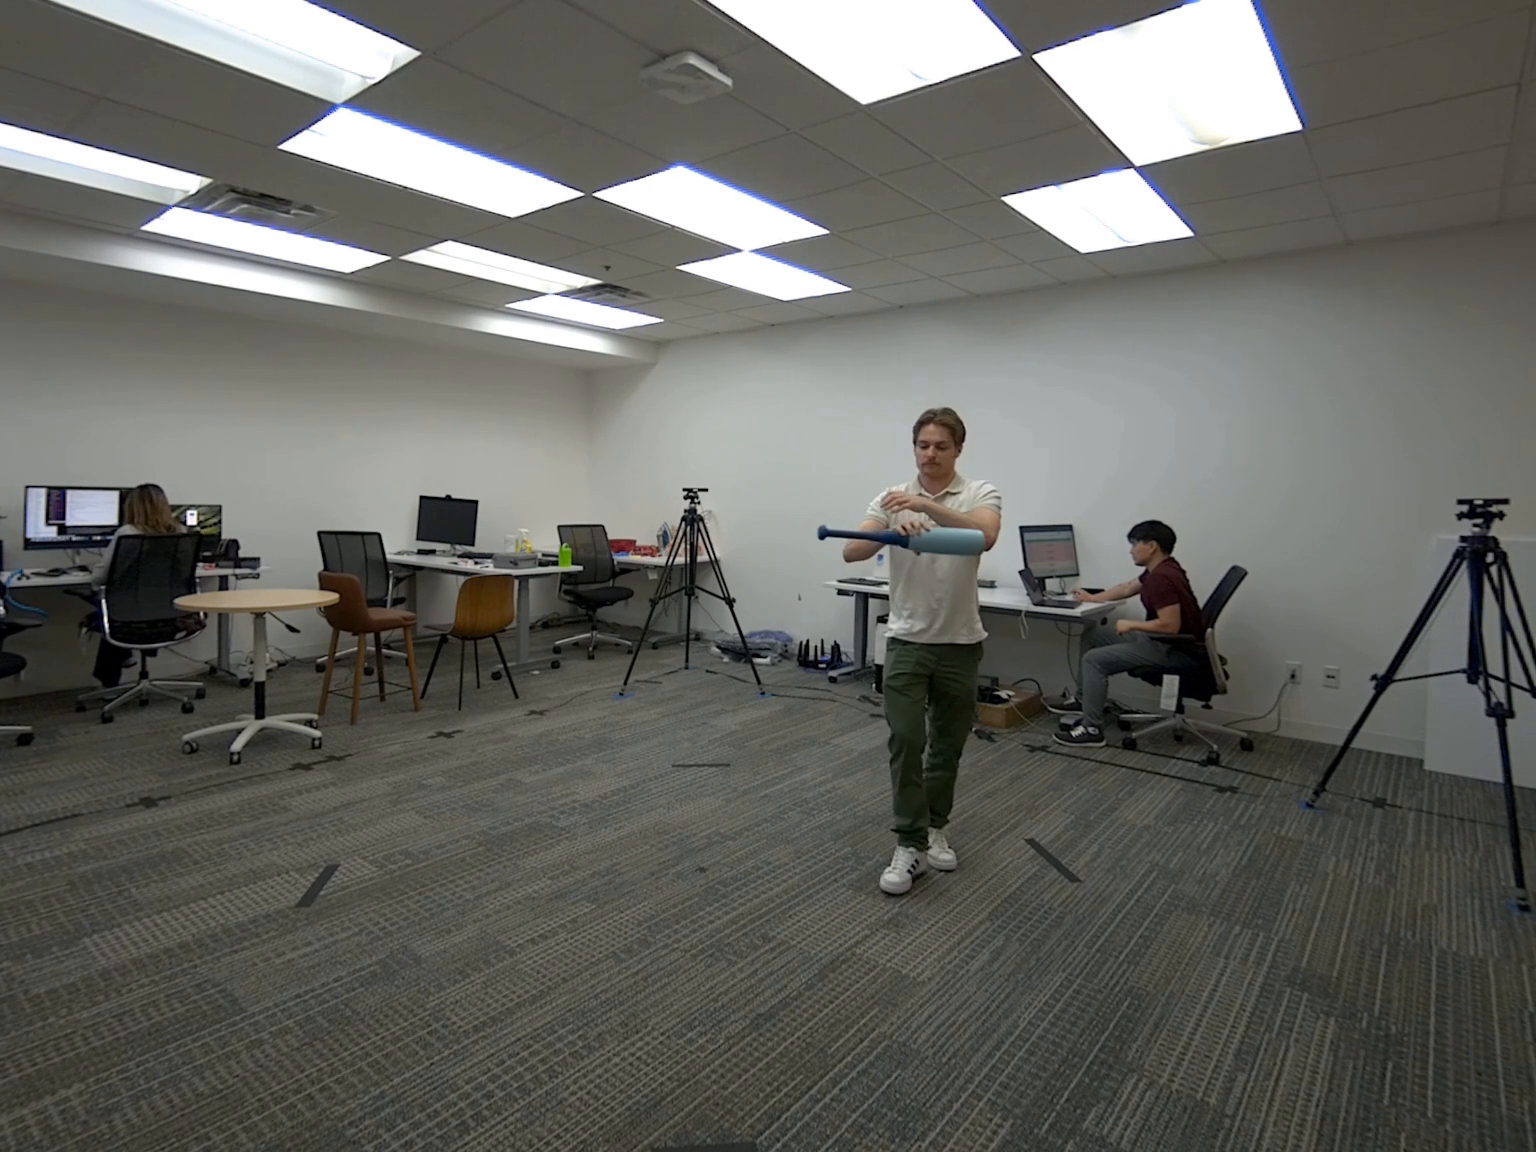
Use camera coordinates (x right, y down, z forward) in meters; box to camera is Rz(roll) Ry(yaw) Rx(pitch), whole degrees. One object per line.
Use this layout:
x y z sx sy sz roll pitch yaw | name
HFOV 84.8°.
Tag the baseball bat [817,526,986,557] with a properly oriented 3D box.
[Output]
0.424 -0.129 2.780 0.542 0.089 0.089 4 4 -1 | baseball bat
